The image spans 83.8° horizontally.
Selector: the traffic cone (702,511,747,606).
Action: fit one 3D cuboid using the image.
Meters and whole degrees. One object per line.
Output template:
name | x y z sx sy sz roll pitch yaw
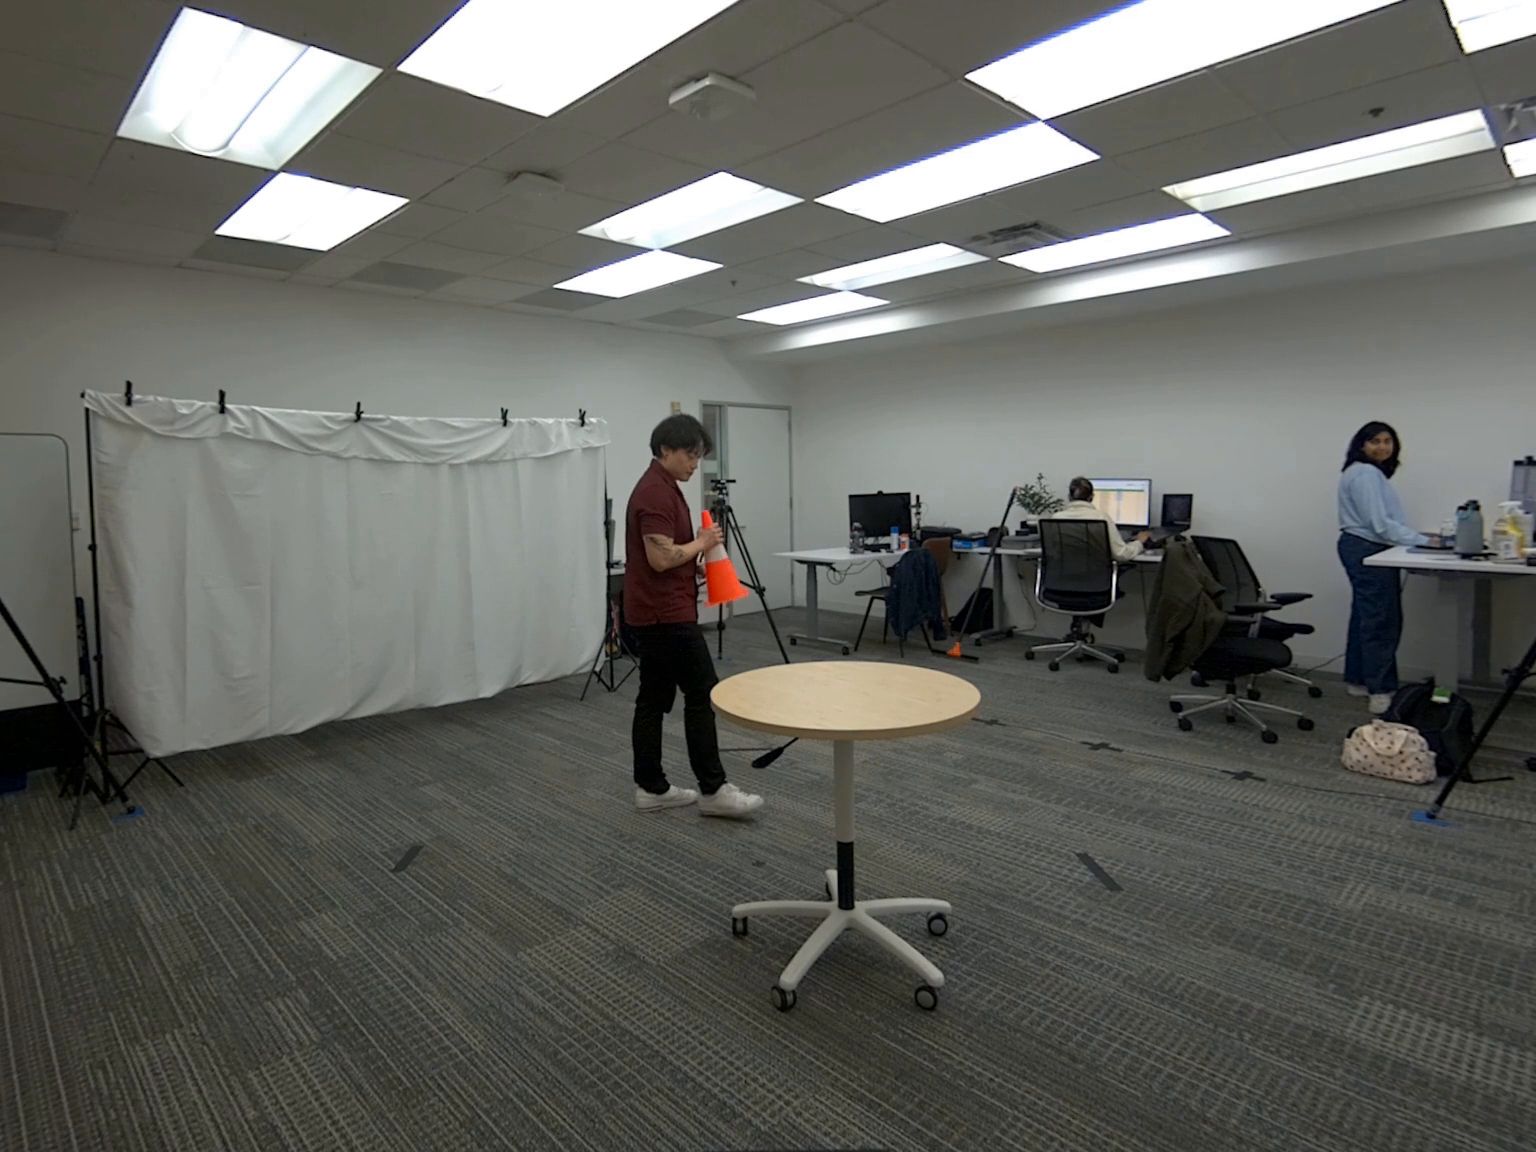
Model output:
traffic cone | -0.225 -0.088 3.616 0.204 0.381 0.206 -14 6 2
